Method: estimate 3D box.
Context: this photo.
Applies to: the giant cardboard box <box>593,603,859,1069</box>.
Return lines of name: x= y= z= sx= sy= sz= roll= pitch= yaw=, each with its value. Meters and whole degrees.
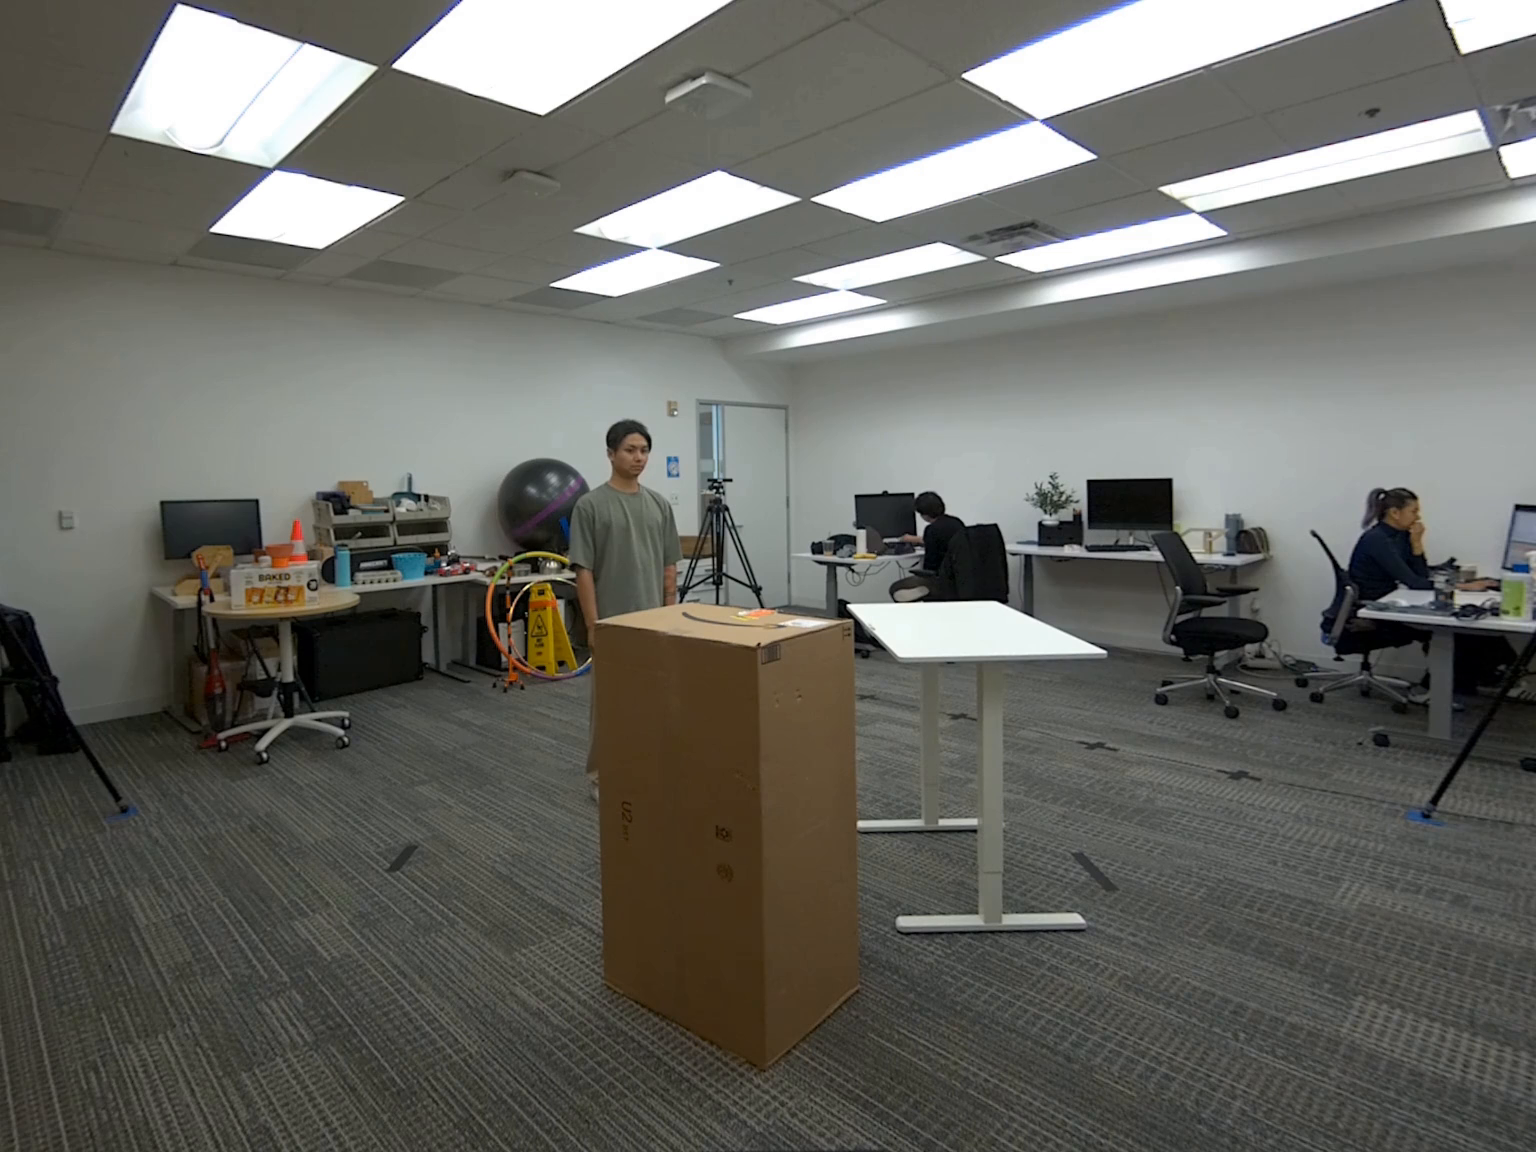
giant cardboard box: x=-0.112 y=0.628 z=2.328 sx=0.595 sy=1.022 sz=0.415 roll=2 pitch=5 yaw=39
